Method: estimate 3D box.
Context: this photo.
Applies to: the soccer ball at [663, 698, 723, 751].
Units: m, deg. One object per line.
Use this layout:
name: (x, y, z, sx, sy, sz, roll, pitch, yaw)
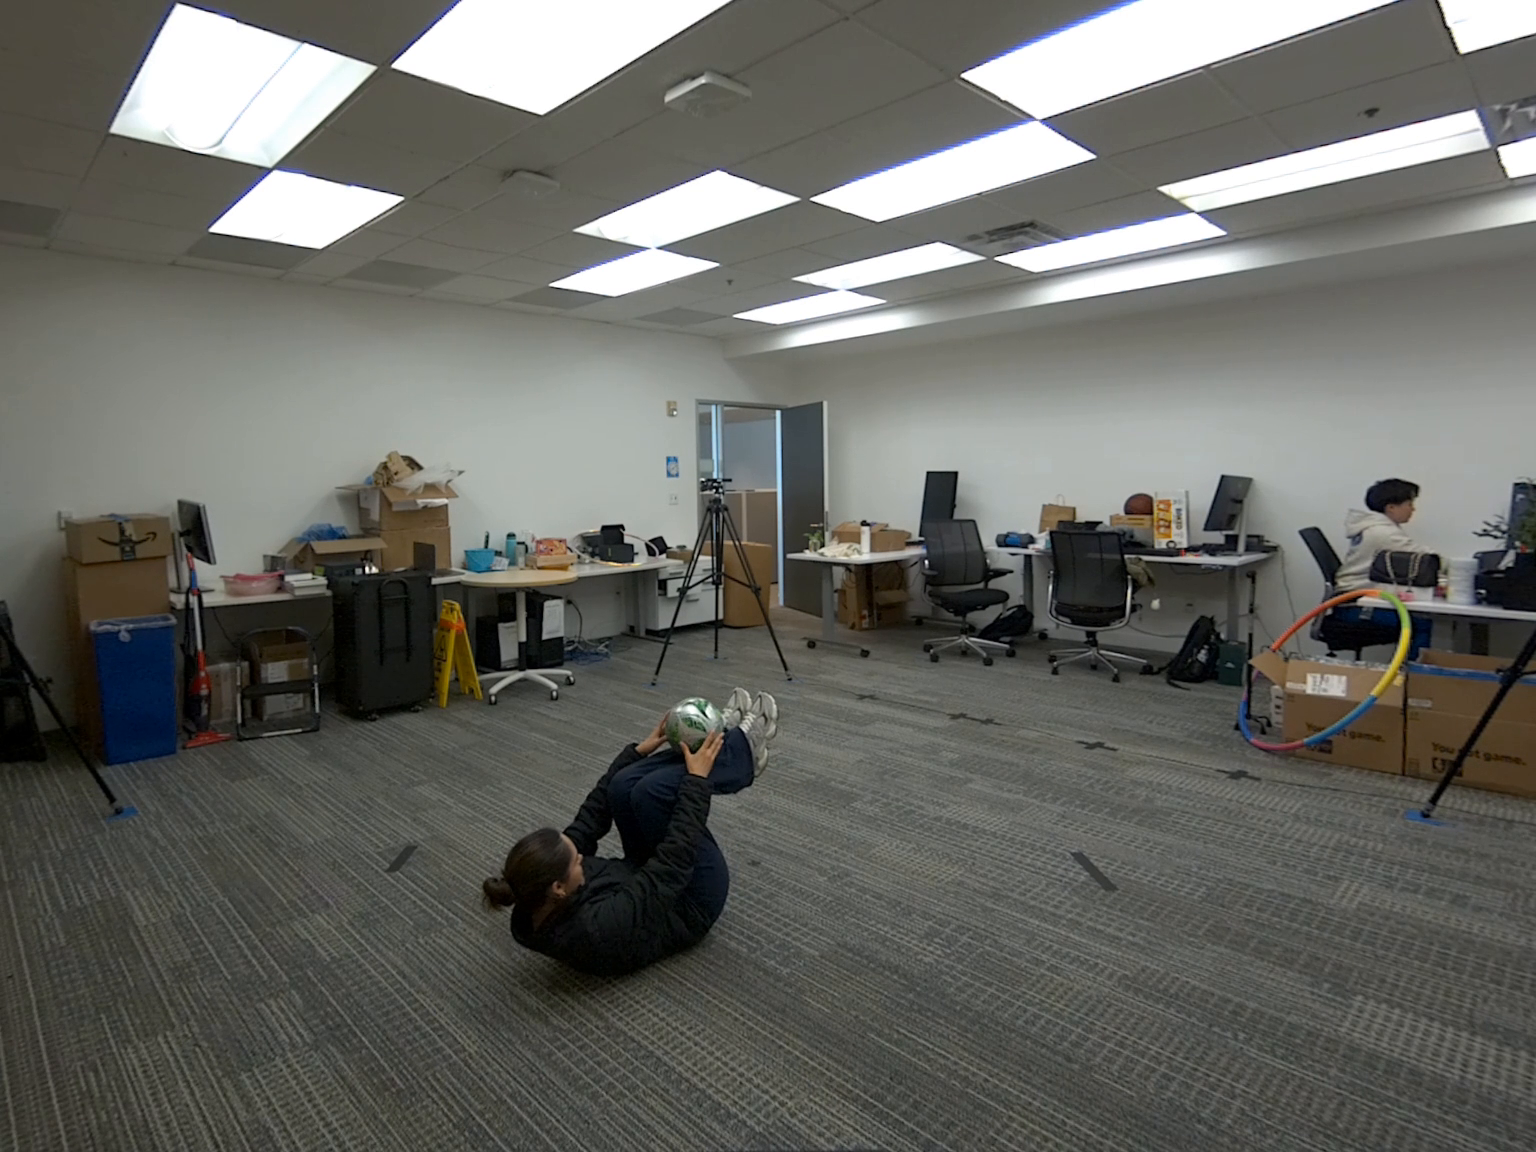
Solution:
soccer ball: (-0.217, 0.476, 2.701, 0.187, 0.187, 0.188, 0, 1, -2)
